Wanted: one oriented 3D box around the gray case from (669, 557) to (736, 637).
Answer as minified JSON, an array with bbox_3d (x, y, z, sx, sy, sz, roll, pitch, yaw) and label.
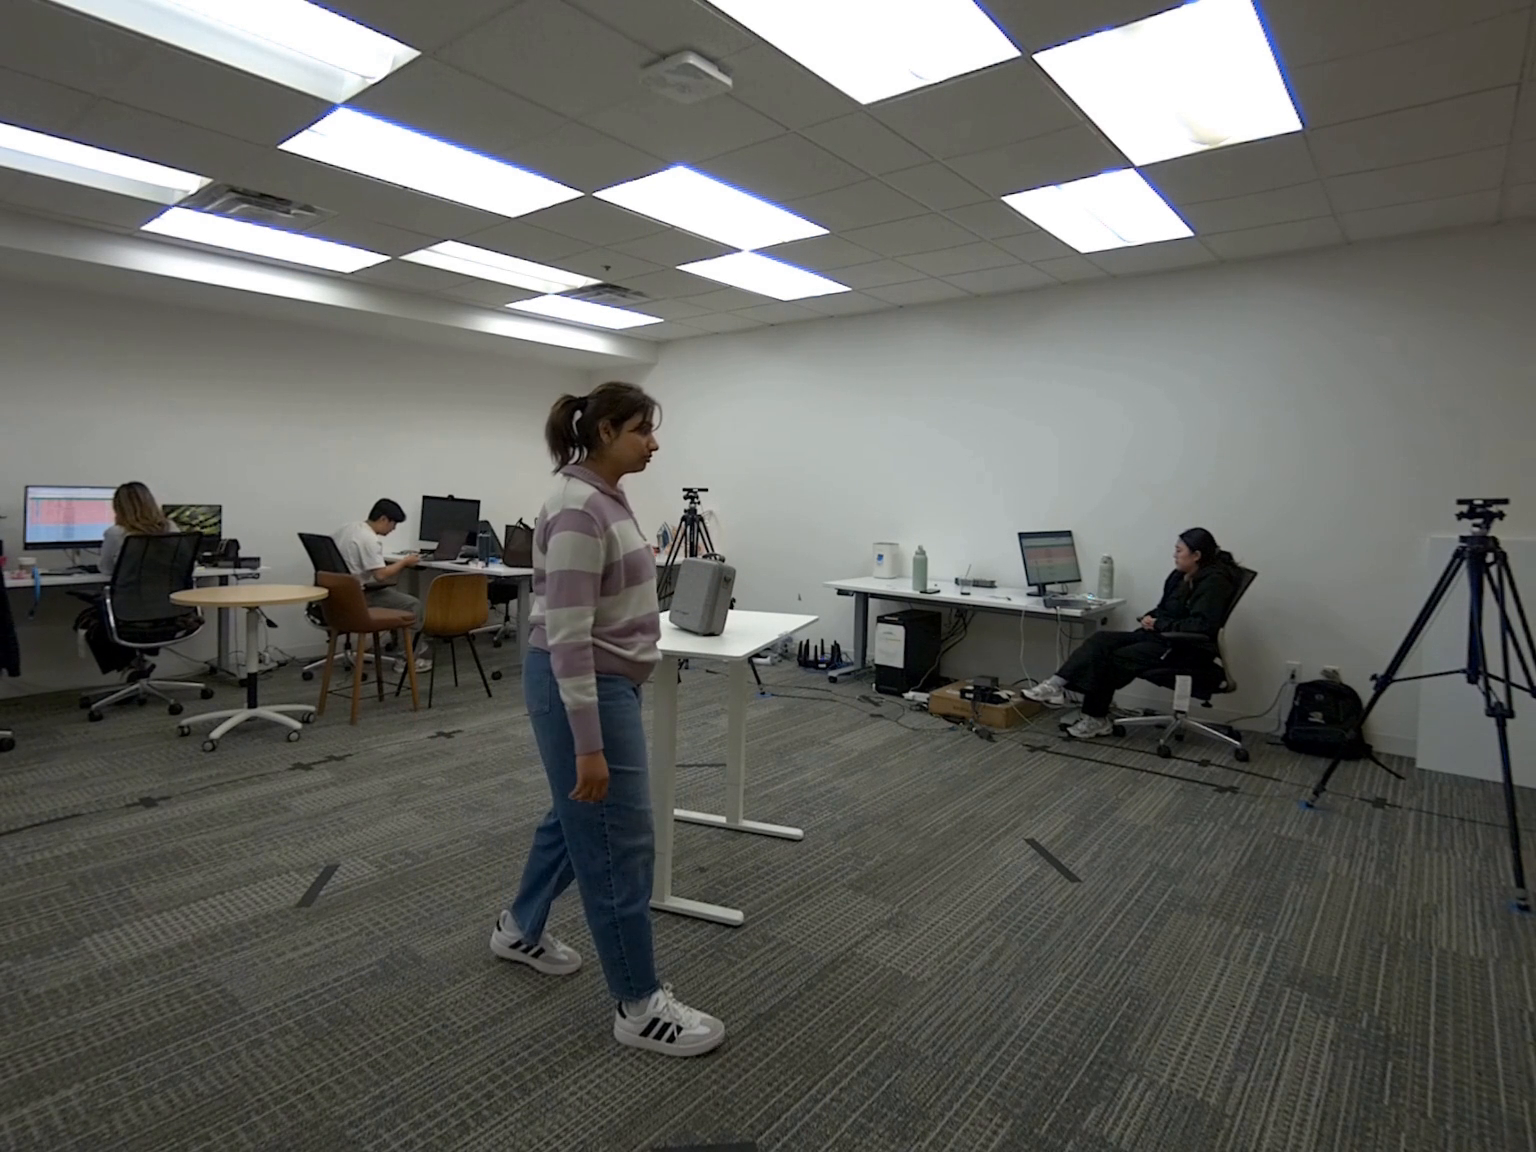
[{"bbox_3d":[-0.245,0.063,3.012,0.101,0.261,0.264,13,-3,-30],"label":"gray case"}]
